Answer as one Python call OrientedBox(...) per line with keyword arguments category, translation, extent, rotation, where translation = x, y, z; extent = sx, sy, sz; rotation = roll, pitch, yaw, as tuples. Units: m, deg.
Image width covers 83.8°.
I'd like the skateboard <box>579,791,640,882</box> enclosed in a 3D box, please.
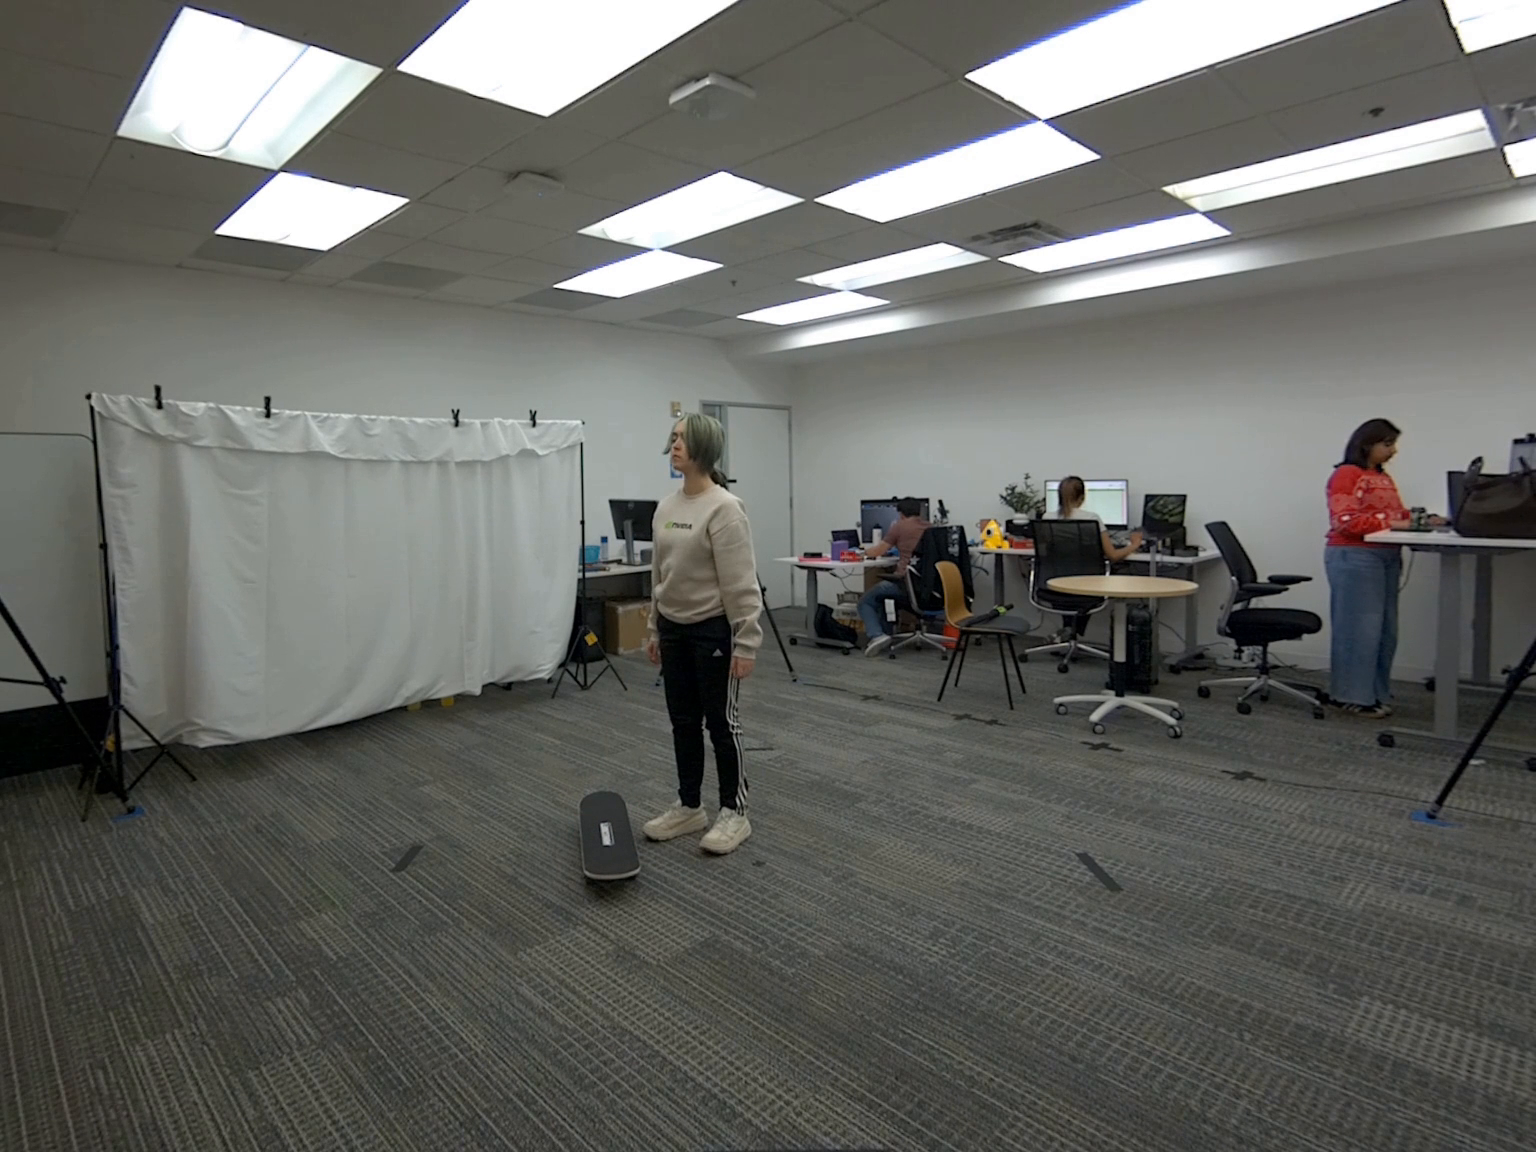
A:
OrientedBox(category="skateboard", translation=(-0.602, 0.993, 3.181), extent=(0.191, 0.110, 0.798), rotation=(-3, 7, -14))
